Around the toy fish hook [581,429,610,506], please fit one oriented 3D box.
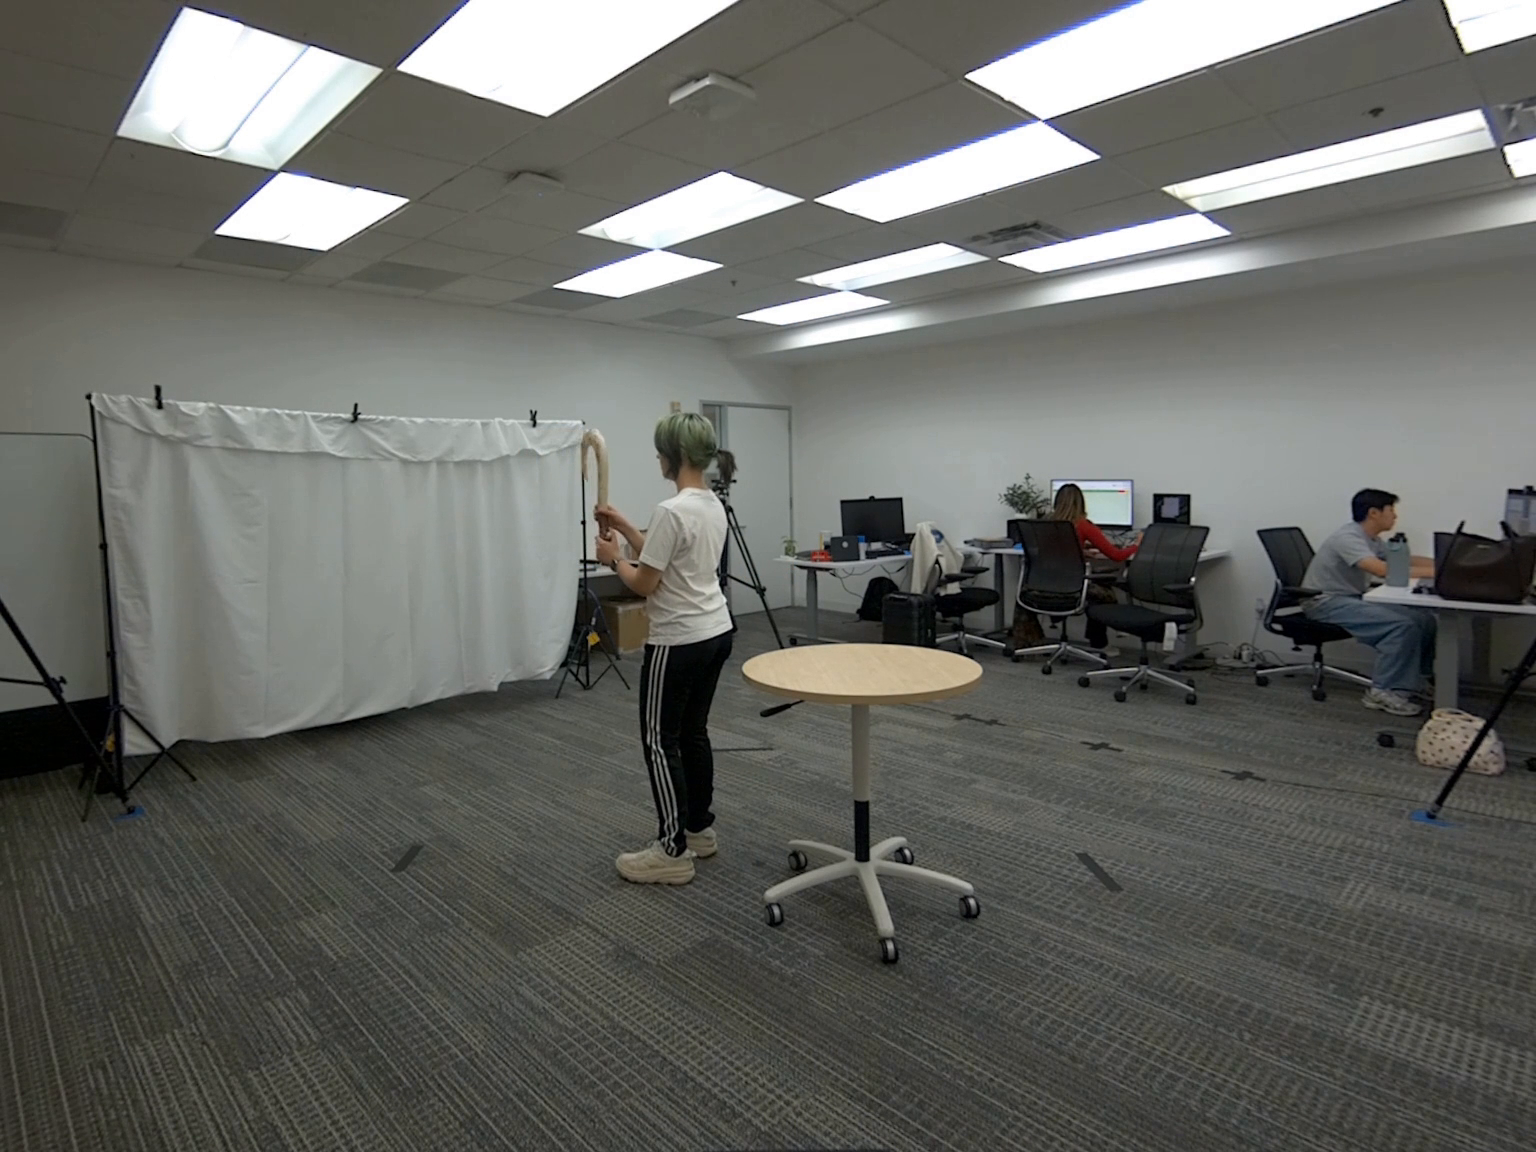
[{"bbox_3d":[-0.641,-0.302,3.215,0.047,0.504,0.230,-6,6,-28],"label":"toy fish hook"}]
